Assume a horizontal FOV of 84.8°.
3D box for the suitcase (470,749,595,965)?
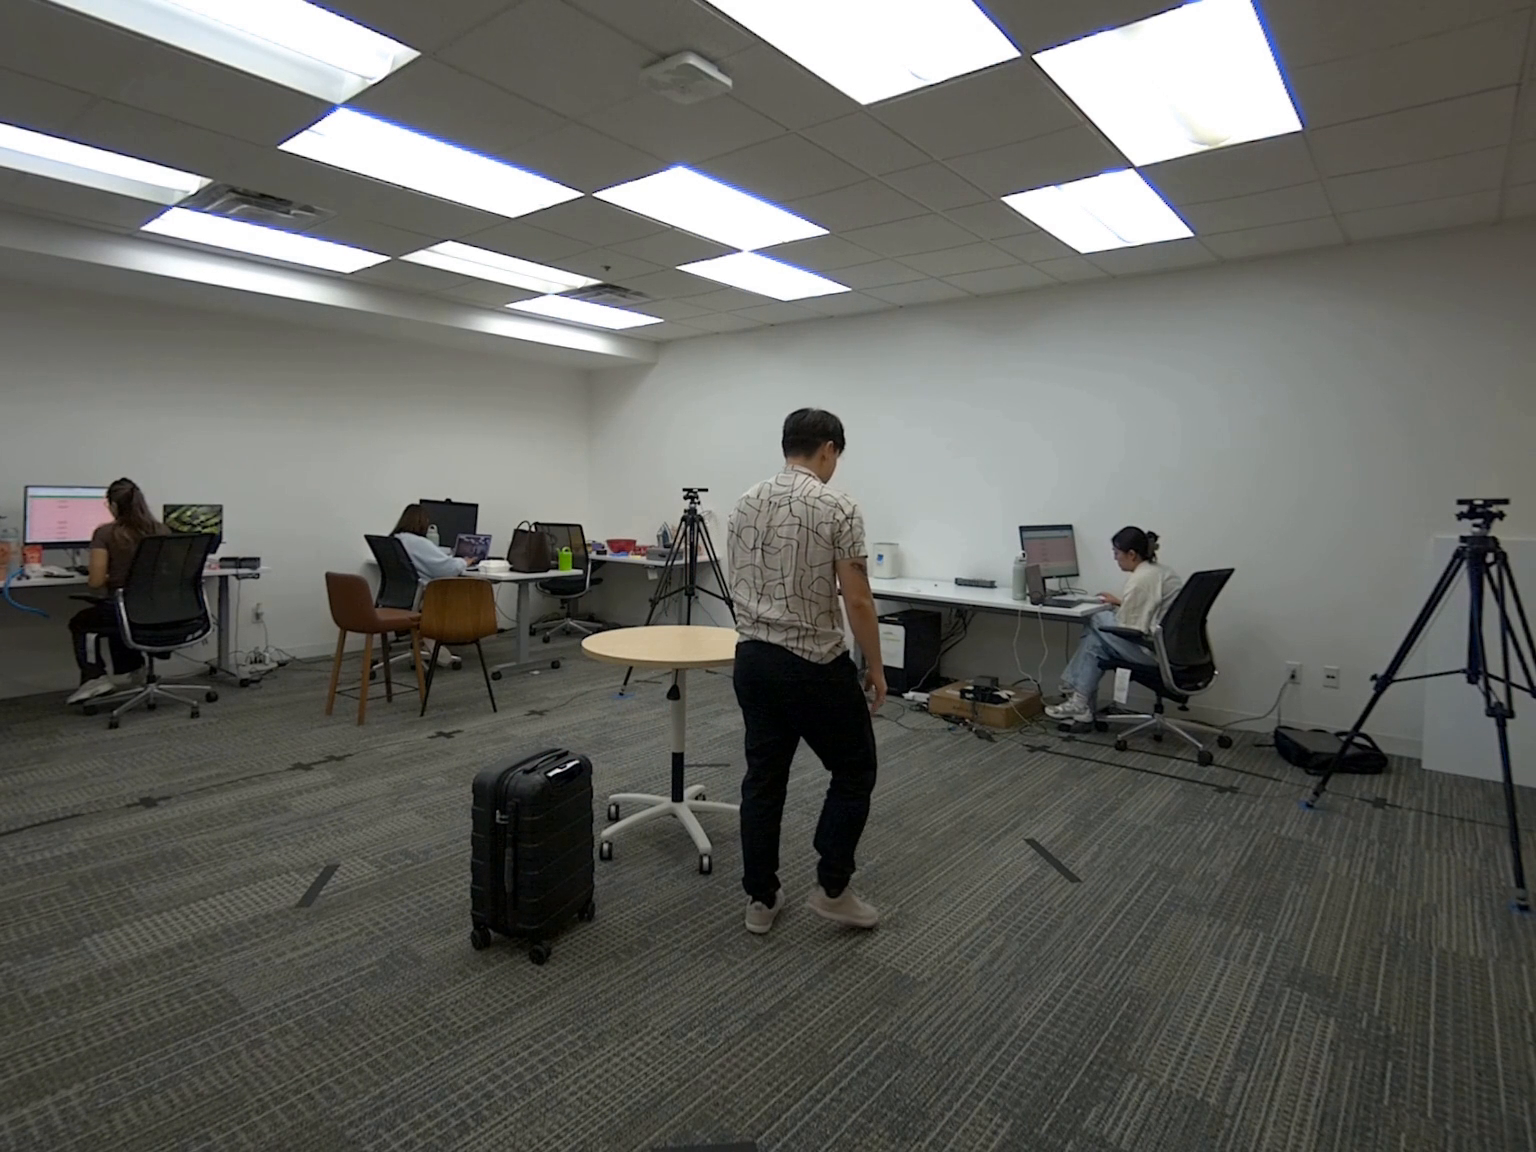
[{"bbox_3d":[-0.737,0.833,2.652,0.254,0.548,0.367,1,3,23],"label":"suitcase"}]
